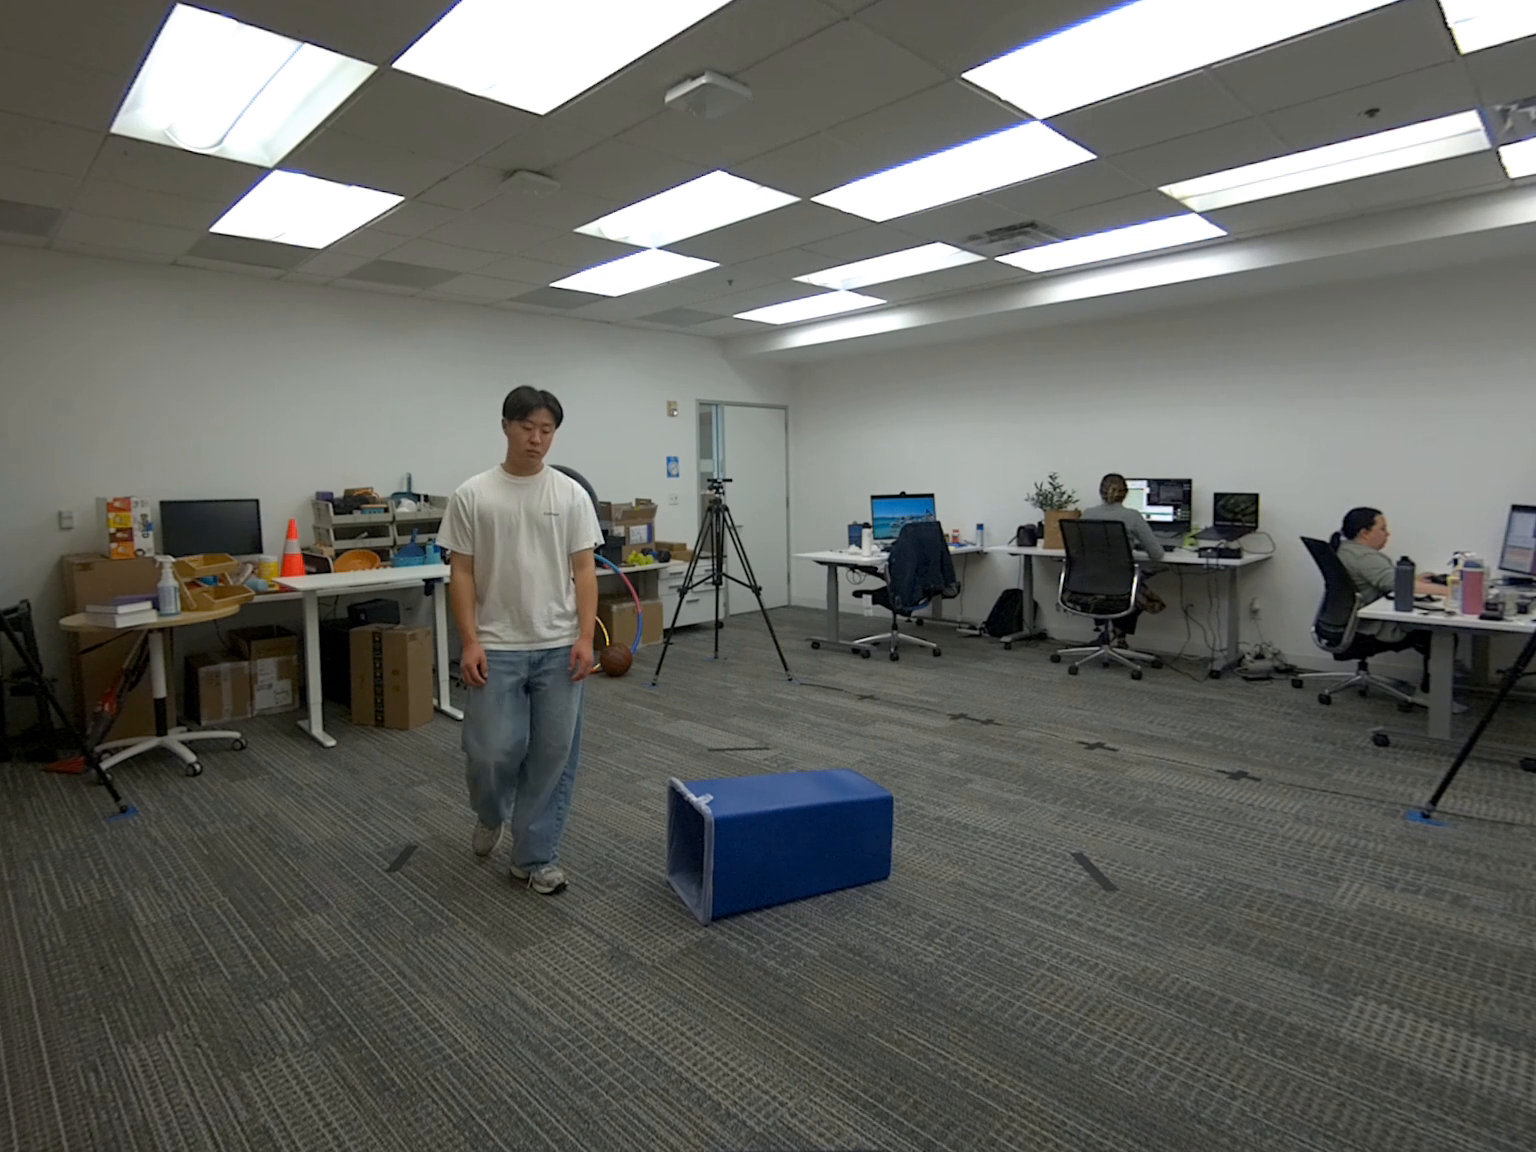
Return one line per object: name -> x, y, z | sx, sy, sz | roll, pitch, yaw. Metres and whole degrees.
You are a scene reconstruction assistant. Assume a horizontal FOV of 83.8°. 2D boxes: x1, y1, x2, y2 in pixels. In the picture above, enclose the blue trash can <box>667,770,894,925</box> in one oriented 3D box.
blue trash can -> 0.044, 0.893, 2.958 | 0.698, 0.377, 0.383 | -1, 5, -25
